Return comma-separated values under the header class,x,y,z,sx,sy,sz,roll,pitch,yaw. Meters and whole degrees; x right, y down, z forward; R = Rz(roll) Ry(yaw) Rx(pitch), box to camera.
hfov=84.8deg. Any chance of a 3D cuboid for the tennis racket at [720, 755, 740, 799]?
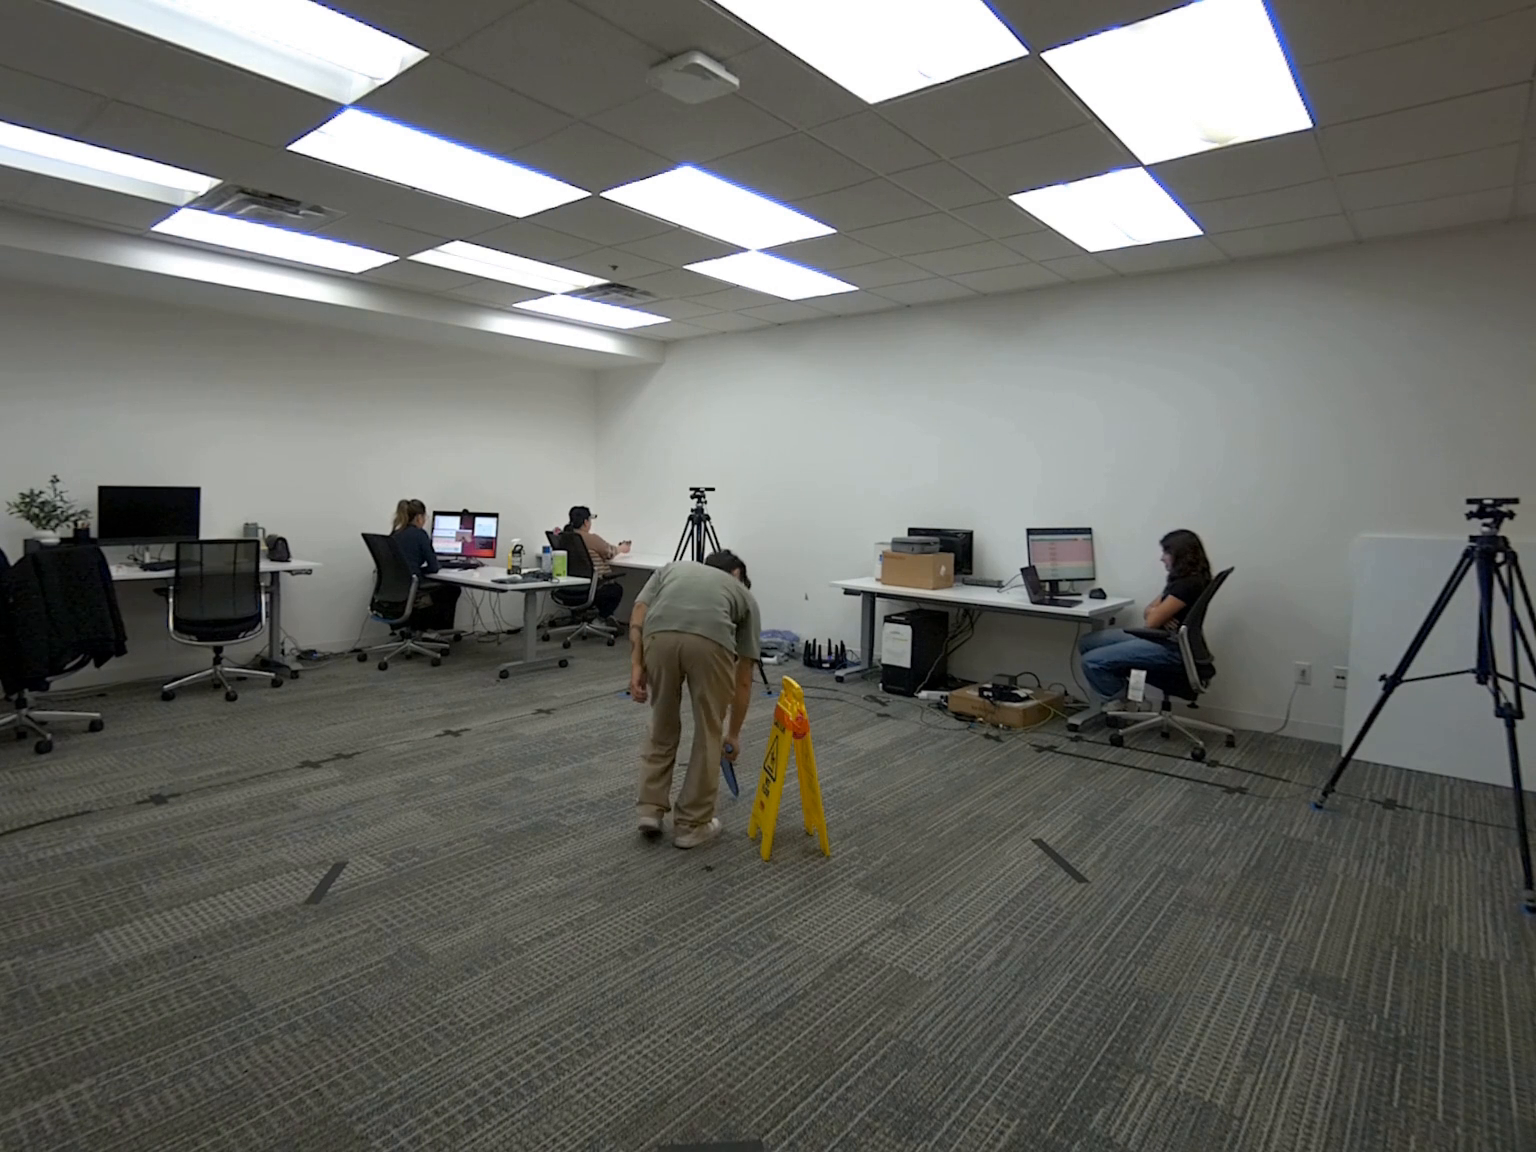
class,x,y,z,sx,sy,sz,roll,pitch,yaw
tennis racket,-0.173,0.820,3.710,0.031,0.221,0.421,-18,-31,-14
